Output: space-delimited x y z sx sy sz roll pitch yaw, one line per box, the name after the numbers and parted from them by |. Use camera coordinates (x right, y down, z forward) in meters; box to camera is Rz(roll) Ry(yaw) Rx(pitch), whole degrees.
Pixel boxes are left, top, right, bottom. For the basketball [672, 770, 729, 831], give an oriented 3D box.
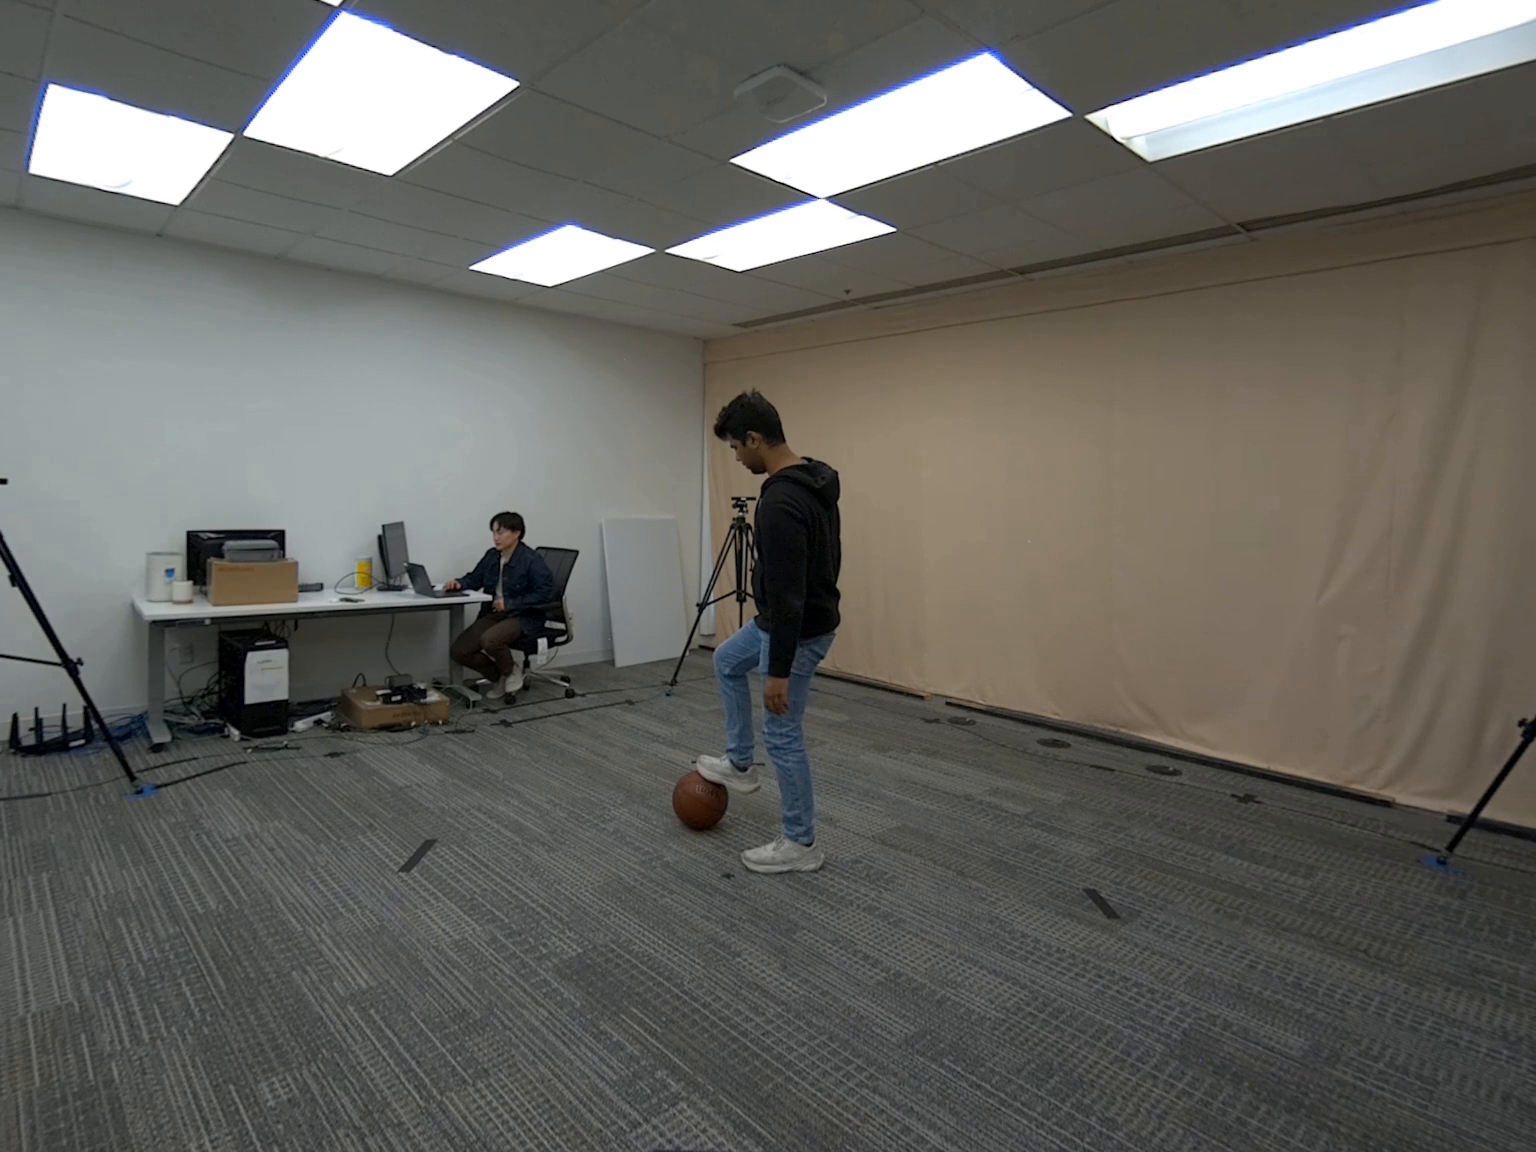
-0.297 0.943 3.571 0.236 0.235 0.237 1 4 -1 | basketball
